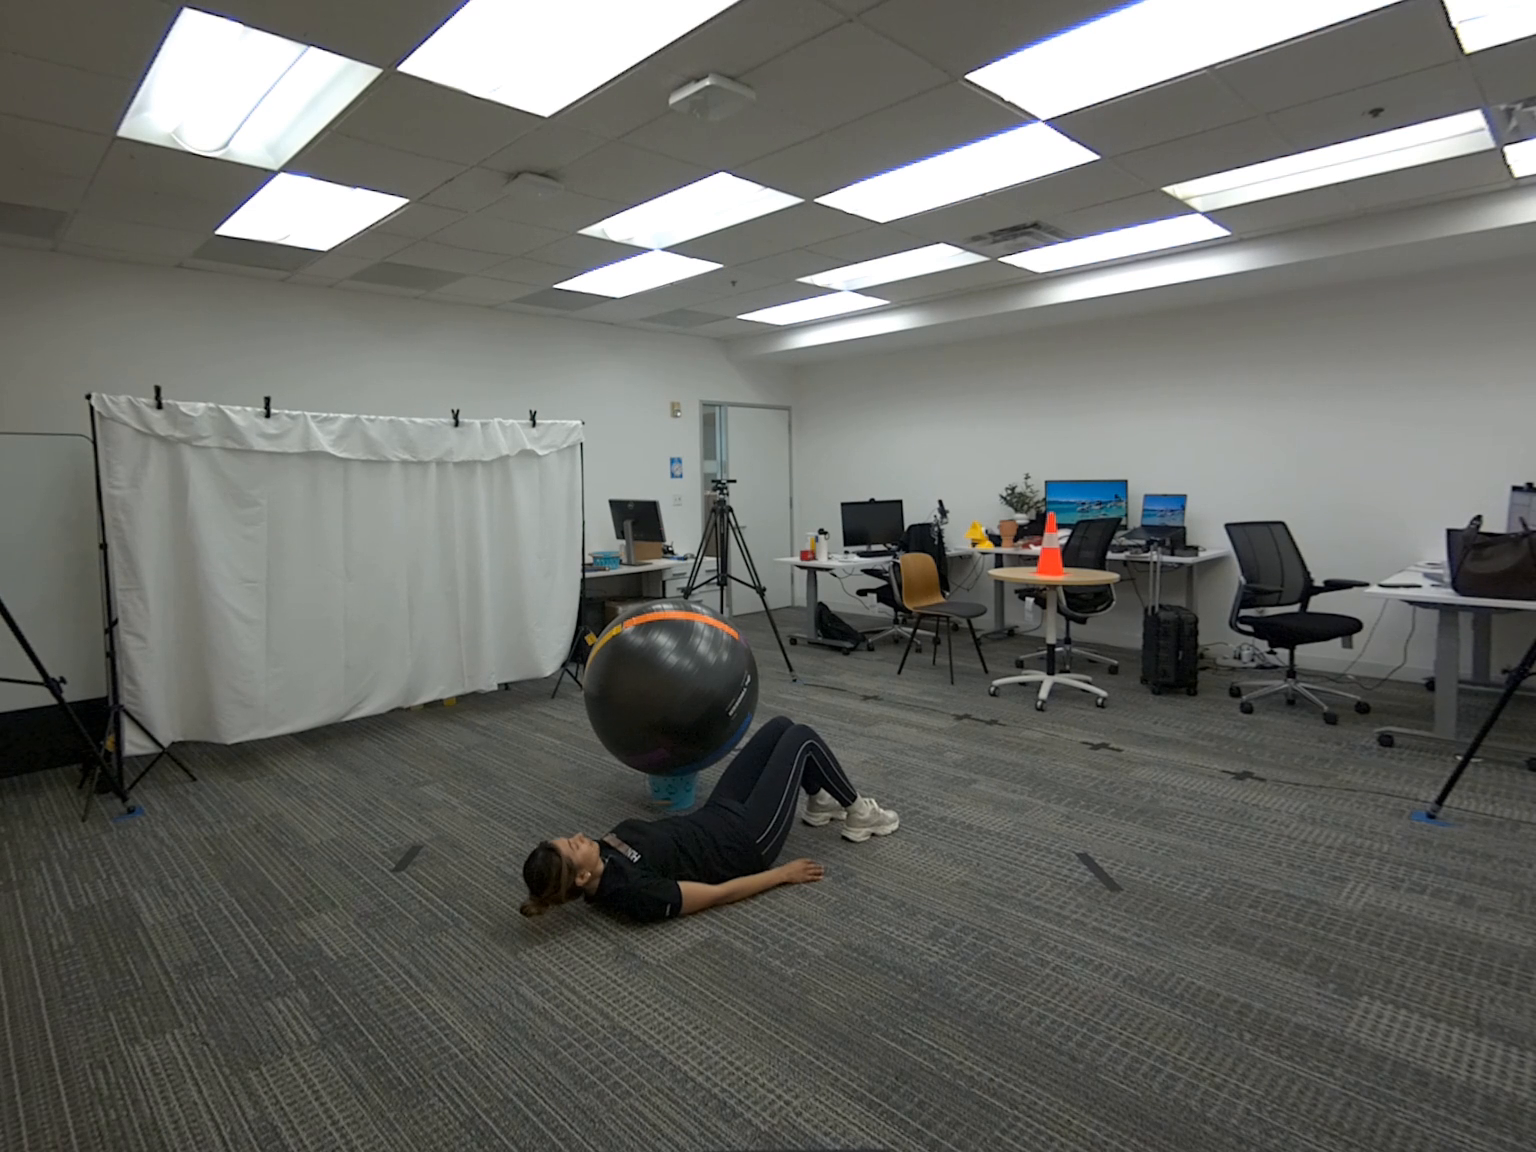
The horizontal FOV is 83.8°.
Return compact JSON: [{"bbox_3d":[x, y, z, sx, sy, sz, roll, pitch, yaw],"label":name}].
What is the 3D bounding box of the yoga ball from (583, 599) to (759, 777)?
[{"bbox_3d":[-0.426,0.481,3.704,0.757,0.757,0.759,0,1,-2],"label":"yoga ball"}]
